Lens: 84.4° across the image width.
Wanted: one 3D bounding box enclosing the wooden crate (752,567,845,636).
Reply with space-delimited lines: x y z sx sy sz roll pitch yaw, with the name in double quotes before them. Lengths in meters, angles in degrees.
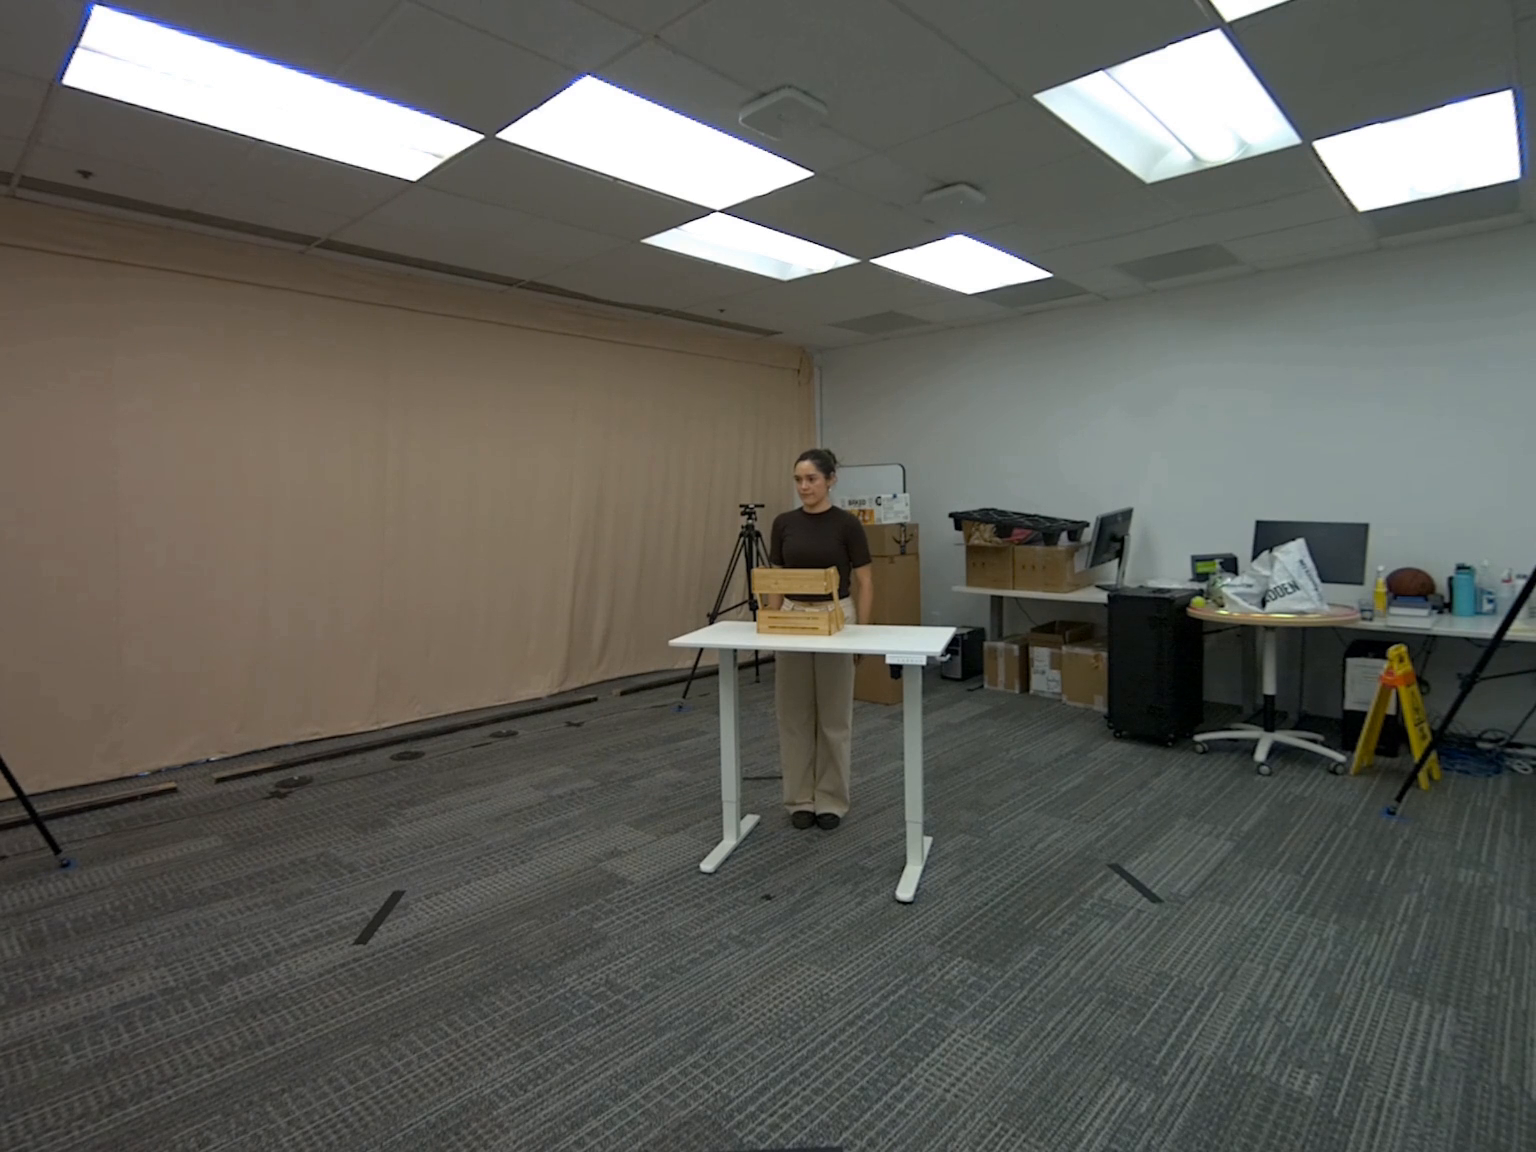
"wooden crate" 0.126 0.090 3.378 0.331 0.273 0.297 0 4 19
